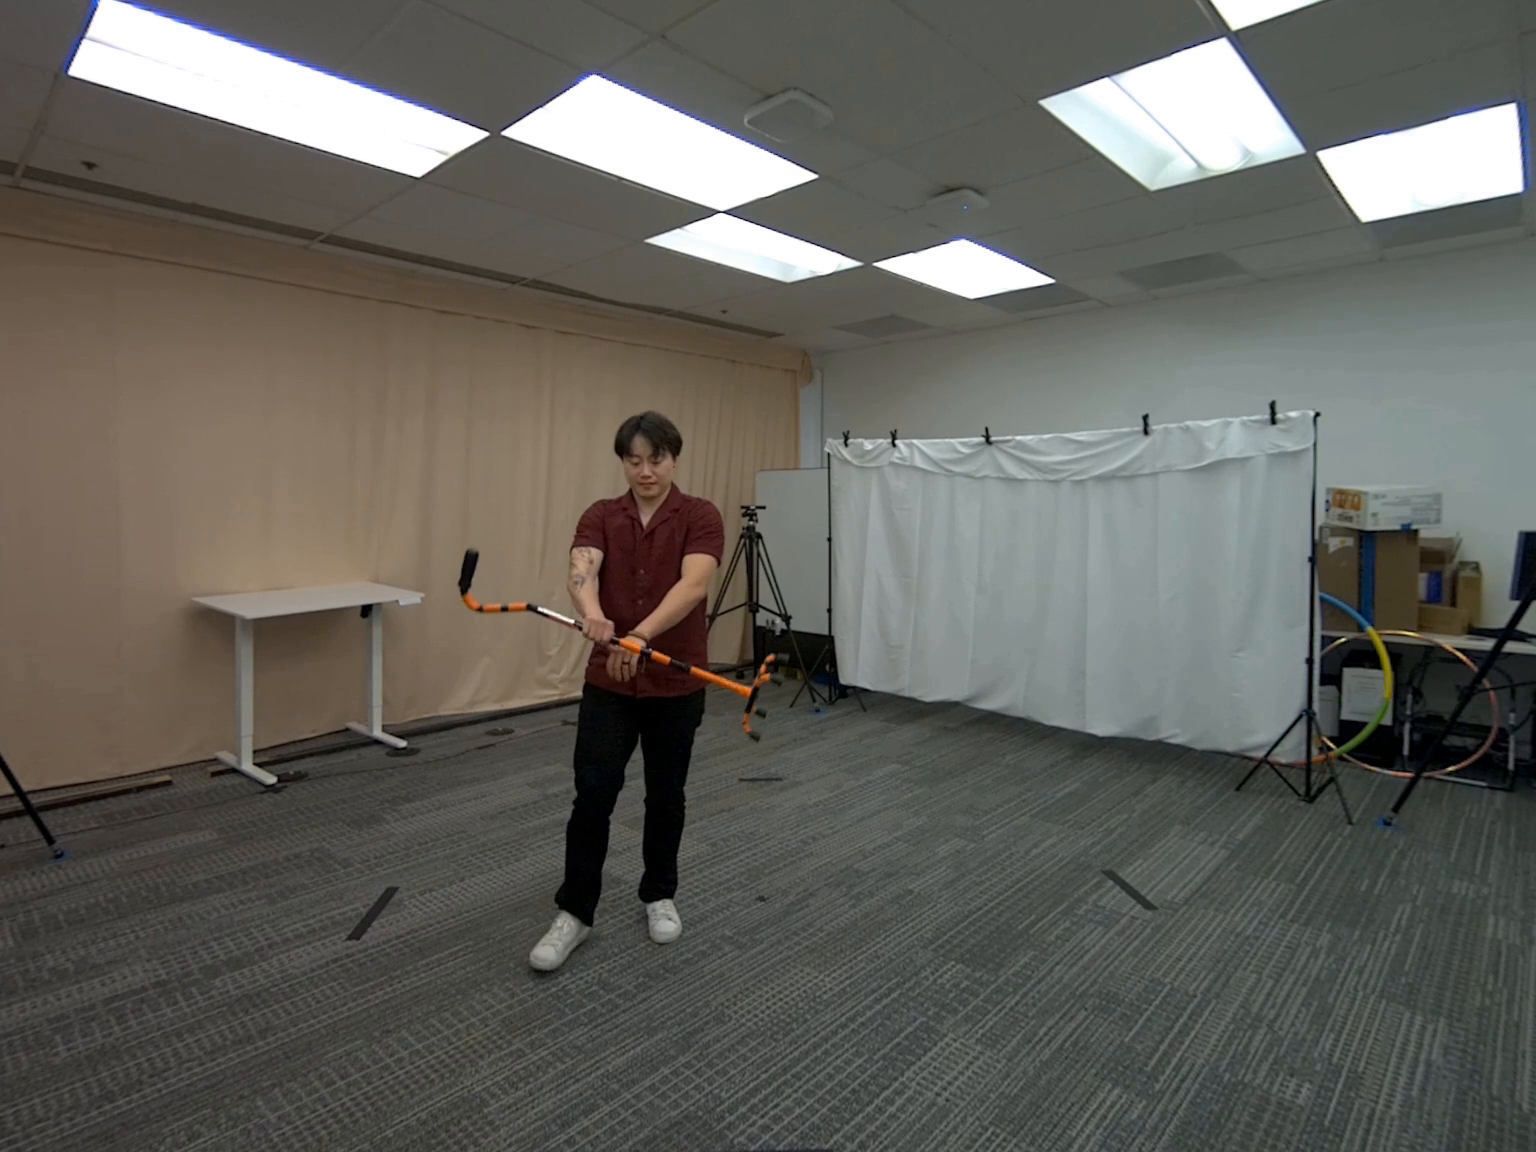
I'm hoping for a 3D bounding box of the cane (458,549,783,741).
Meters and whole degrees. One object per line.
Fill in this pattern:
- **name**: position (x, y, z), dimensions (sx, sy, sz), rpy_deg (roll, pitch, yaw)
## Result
- **cane**: position (-0.408, 0.172, 2.272), dimensions (0.911, 0.206, 0.151), rpy_deg (21, 17, 3)
